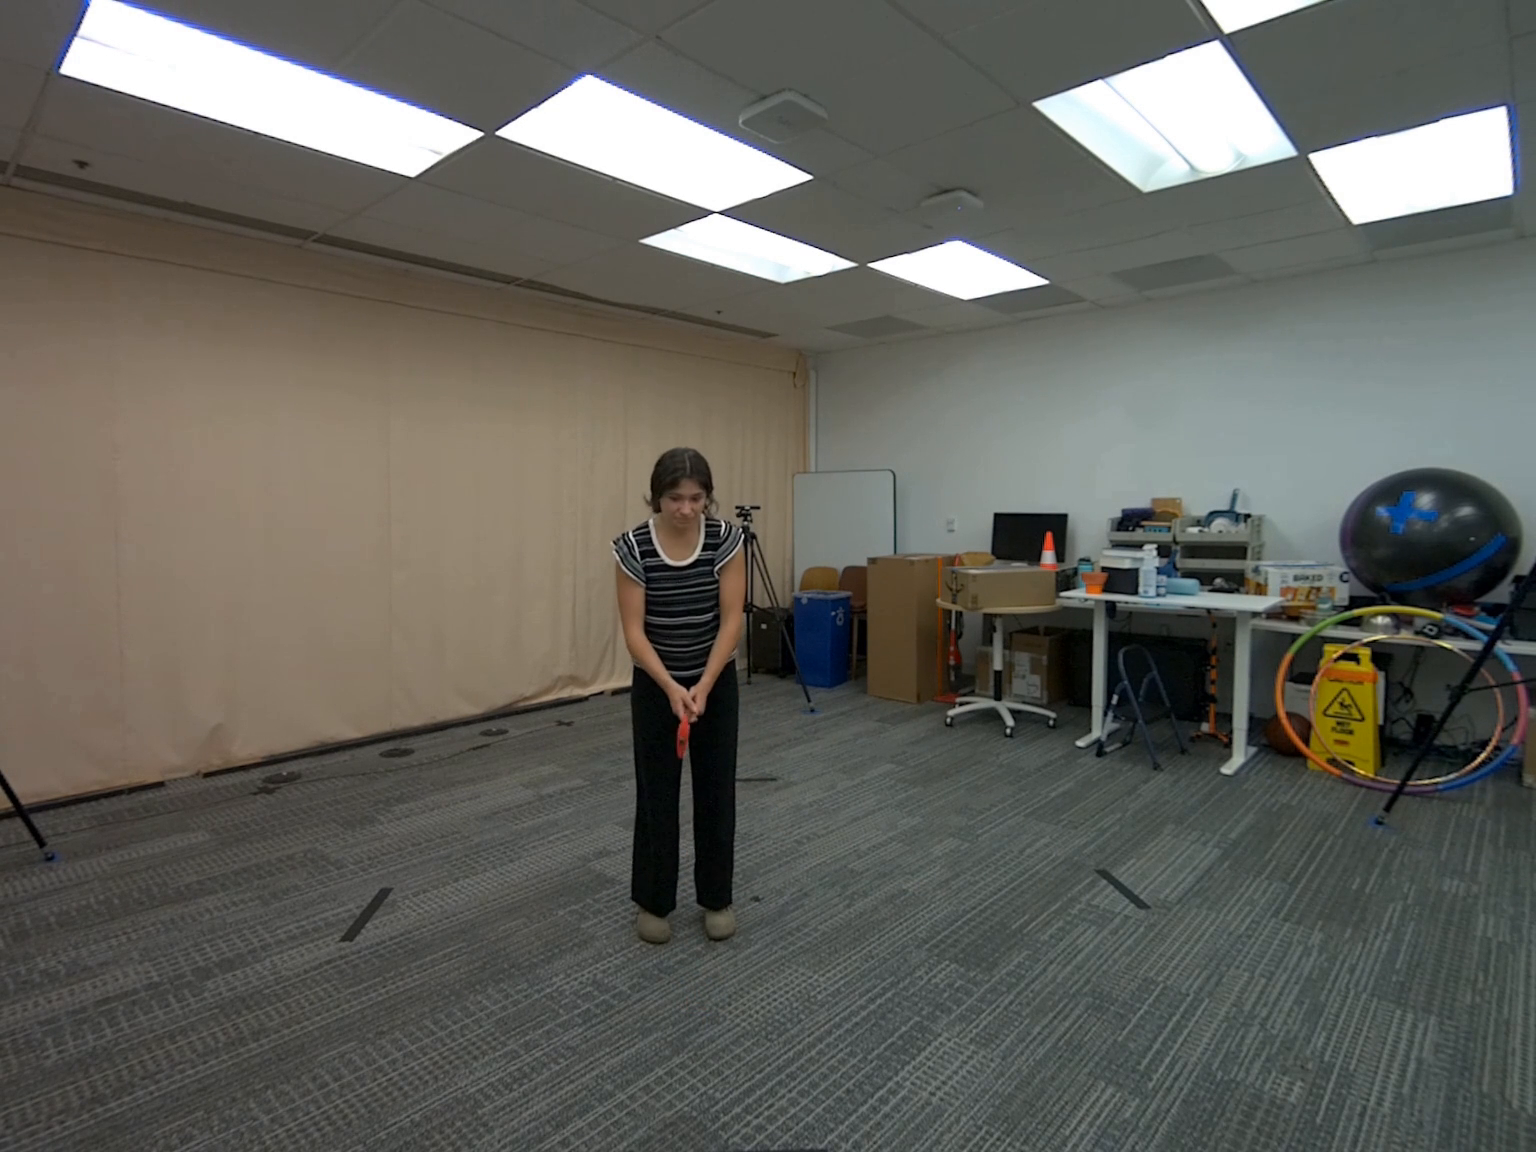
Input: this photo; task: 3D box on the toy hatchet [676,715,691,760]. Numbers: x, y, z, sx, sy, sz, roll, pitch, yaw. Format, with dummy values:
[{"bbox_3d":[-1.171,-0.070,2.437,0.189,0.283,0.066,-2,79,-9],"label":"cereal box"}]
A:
[{"bbox_3d":[-0.226,0.433,2.410,0.030,0.131,0.269,3,3,2],"label":"toy hatchet"}]
